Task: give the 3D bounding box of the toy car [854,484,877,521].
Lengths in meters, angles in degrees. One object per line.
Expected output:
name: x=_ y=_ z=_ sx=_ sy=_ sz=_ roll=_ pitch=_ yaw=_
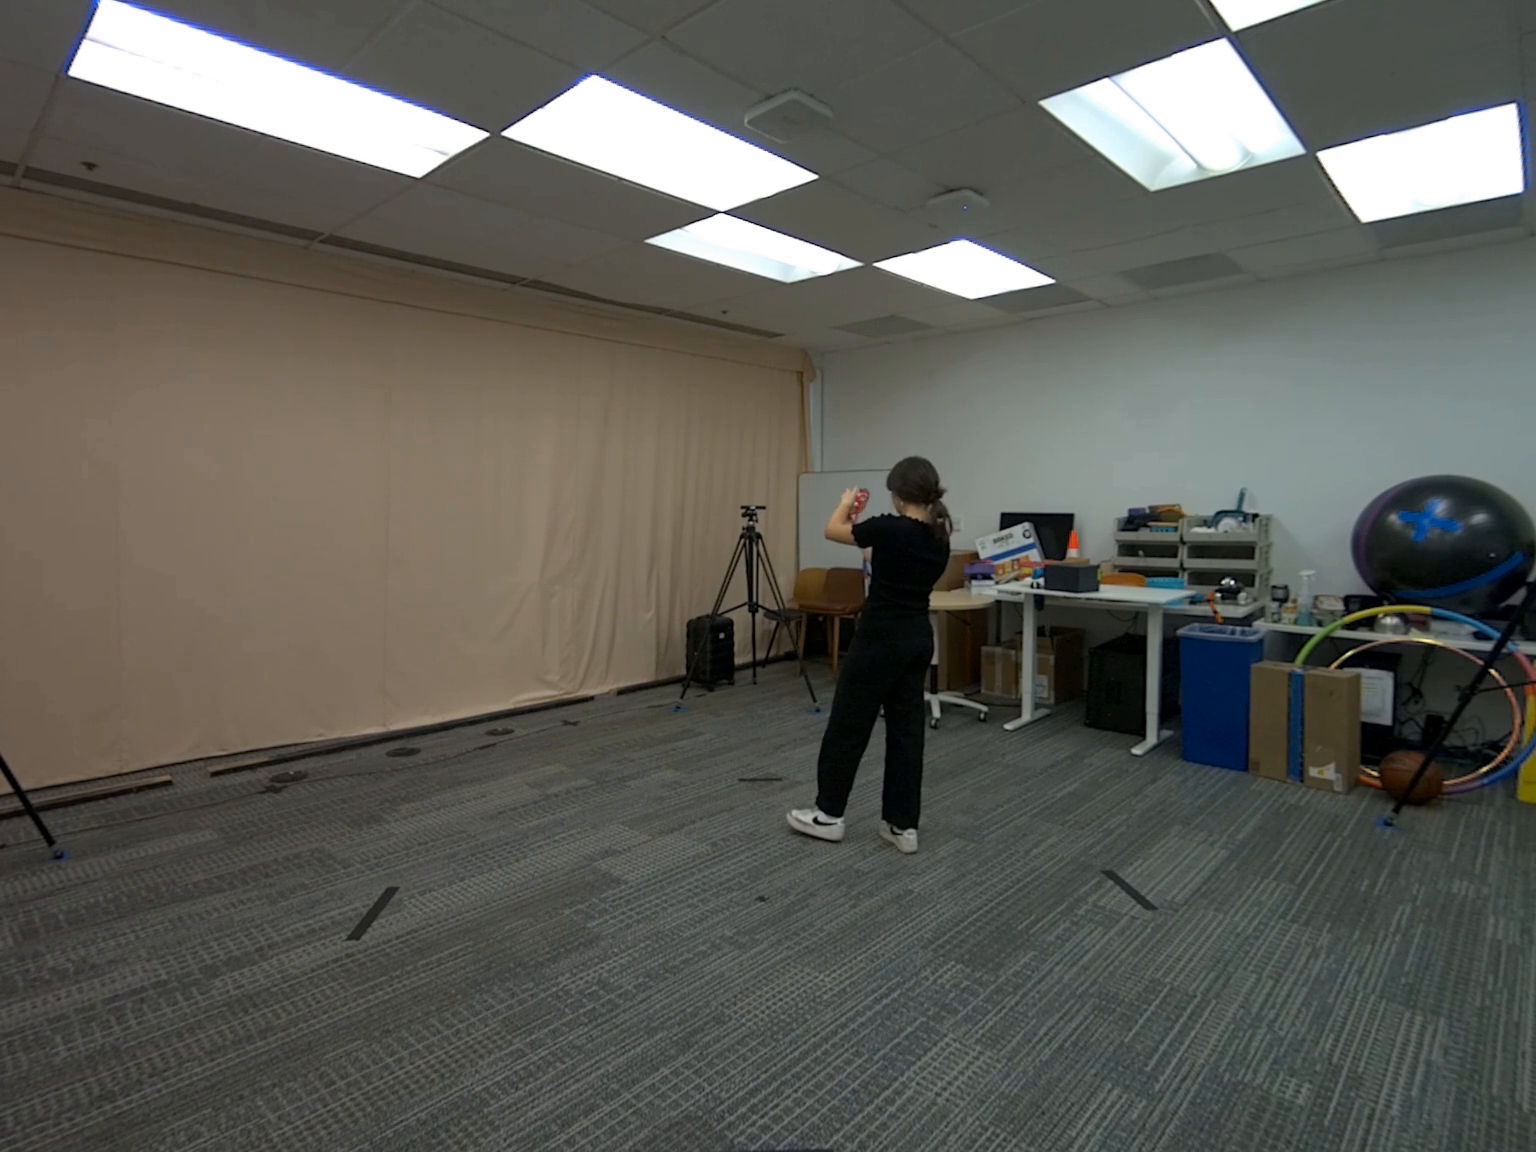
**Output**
toy car: x=0.402 y=-0.326 z=3.880 sx=0.084 sy=0.130 sz=0.251 roll=28 pitch=23 yaw=11
